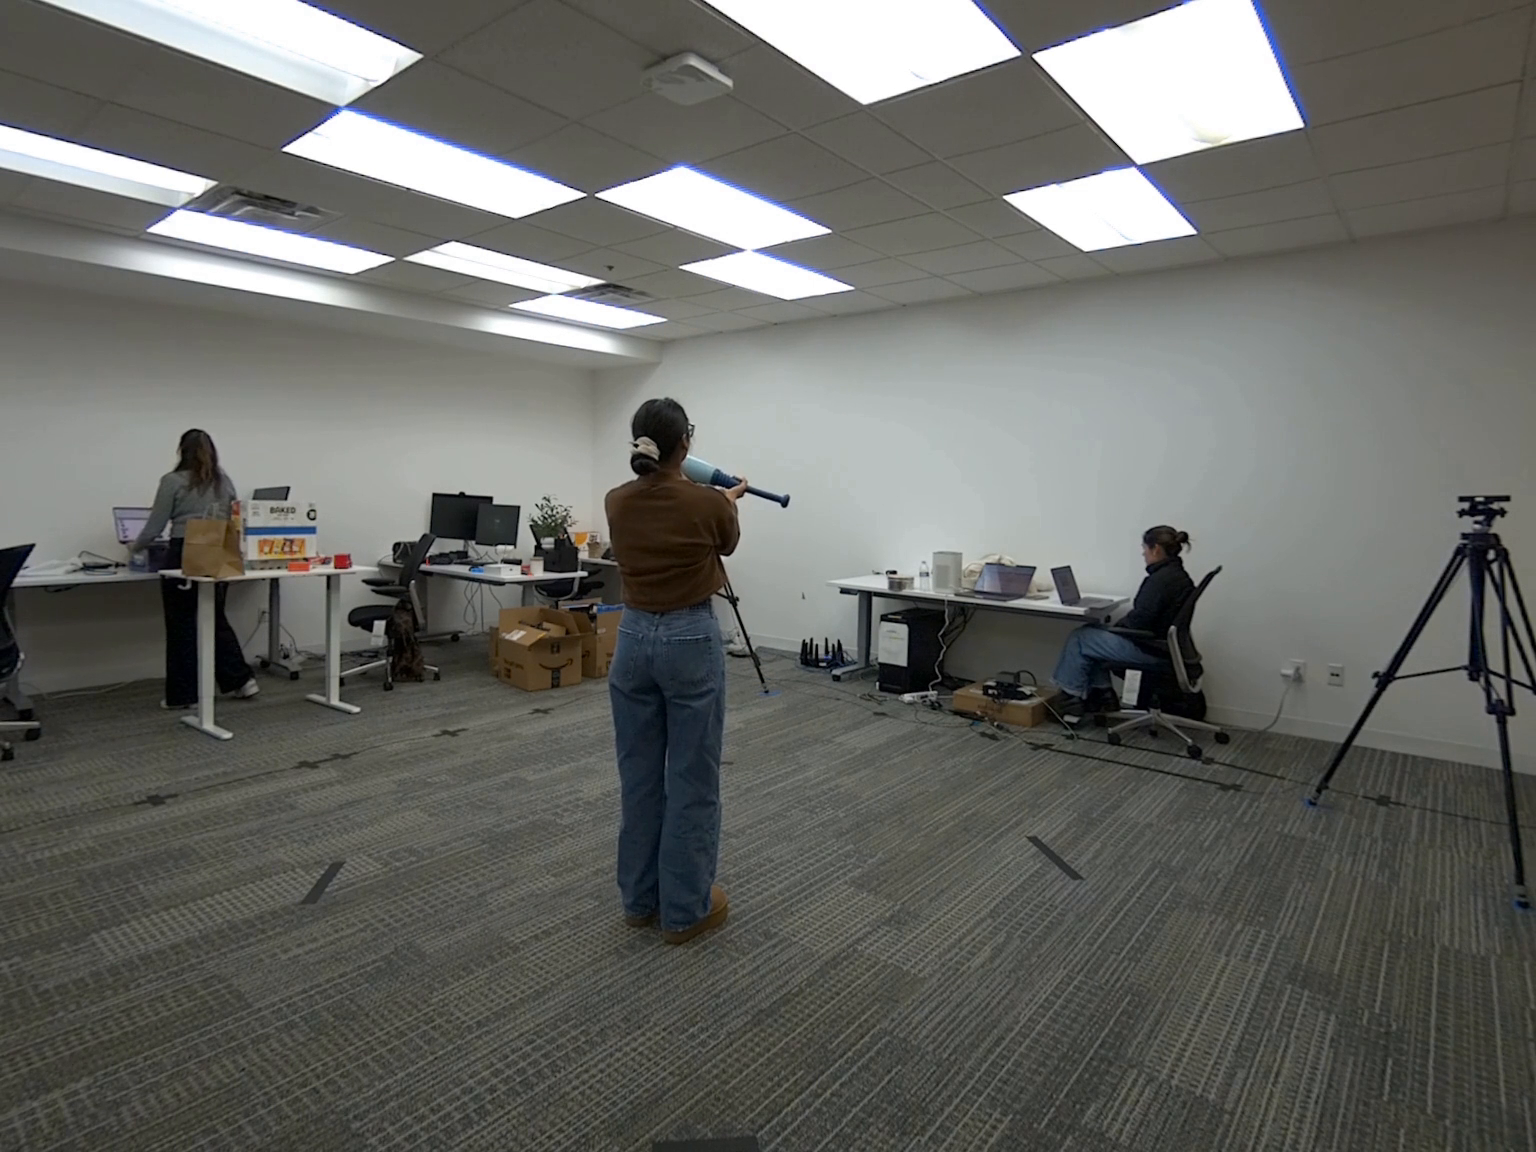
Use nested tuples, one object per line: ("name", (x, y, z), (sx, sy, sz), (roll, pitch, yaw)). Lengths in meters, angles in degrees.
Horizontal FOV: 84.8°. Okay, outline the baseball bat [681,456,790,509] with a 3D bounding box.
("baseball bat", (-0.193, -0.353, 3.116), (0.551, 0.089, 0.088), (20, 8, 11))
